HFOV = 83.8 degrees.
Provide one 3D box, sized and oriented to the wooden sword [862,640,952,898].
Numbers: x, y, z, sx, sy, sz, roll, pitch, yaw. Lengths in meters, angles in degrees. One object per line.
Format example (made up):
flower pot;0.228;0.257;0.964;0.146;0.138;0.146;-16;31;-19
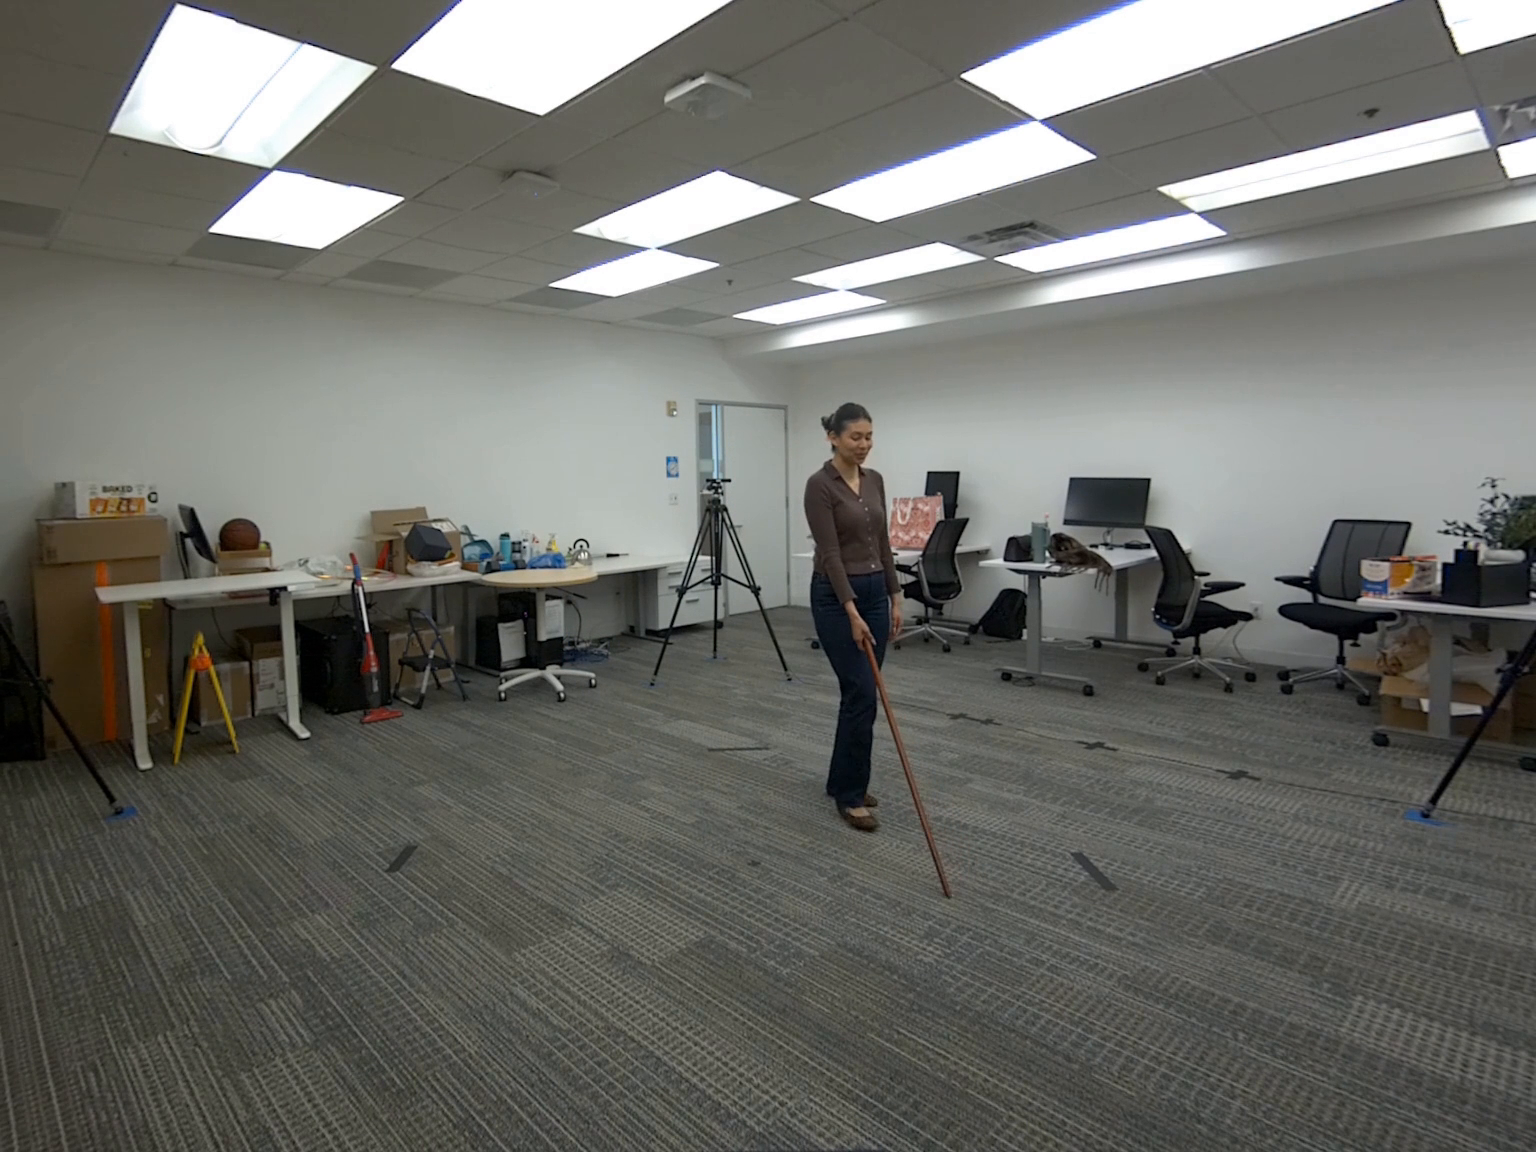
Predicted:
wooden sword;0.486;0.643;3.119;0.050;1.057;0.024;-3;-35;-23
